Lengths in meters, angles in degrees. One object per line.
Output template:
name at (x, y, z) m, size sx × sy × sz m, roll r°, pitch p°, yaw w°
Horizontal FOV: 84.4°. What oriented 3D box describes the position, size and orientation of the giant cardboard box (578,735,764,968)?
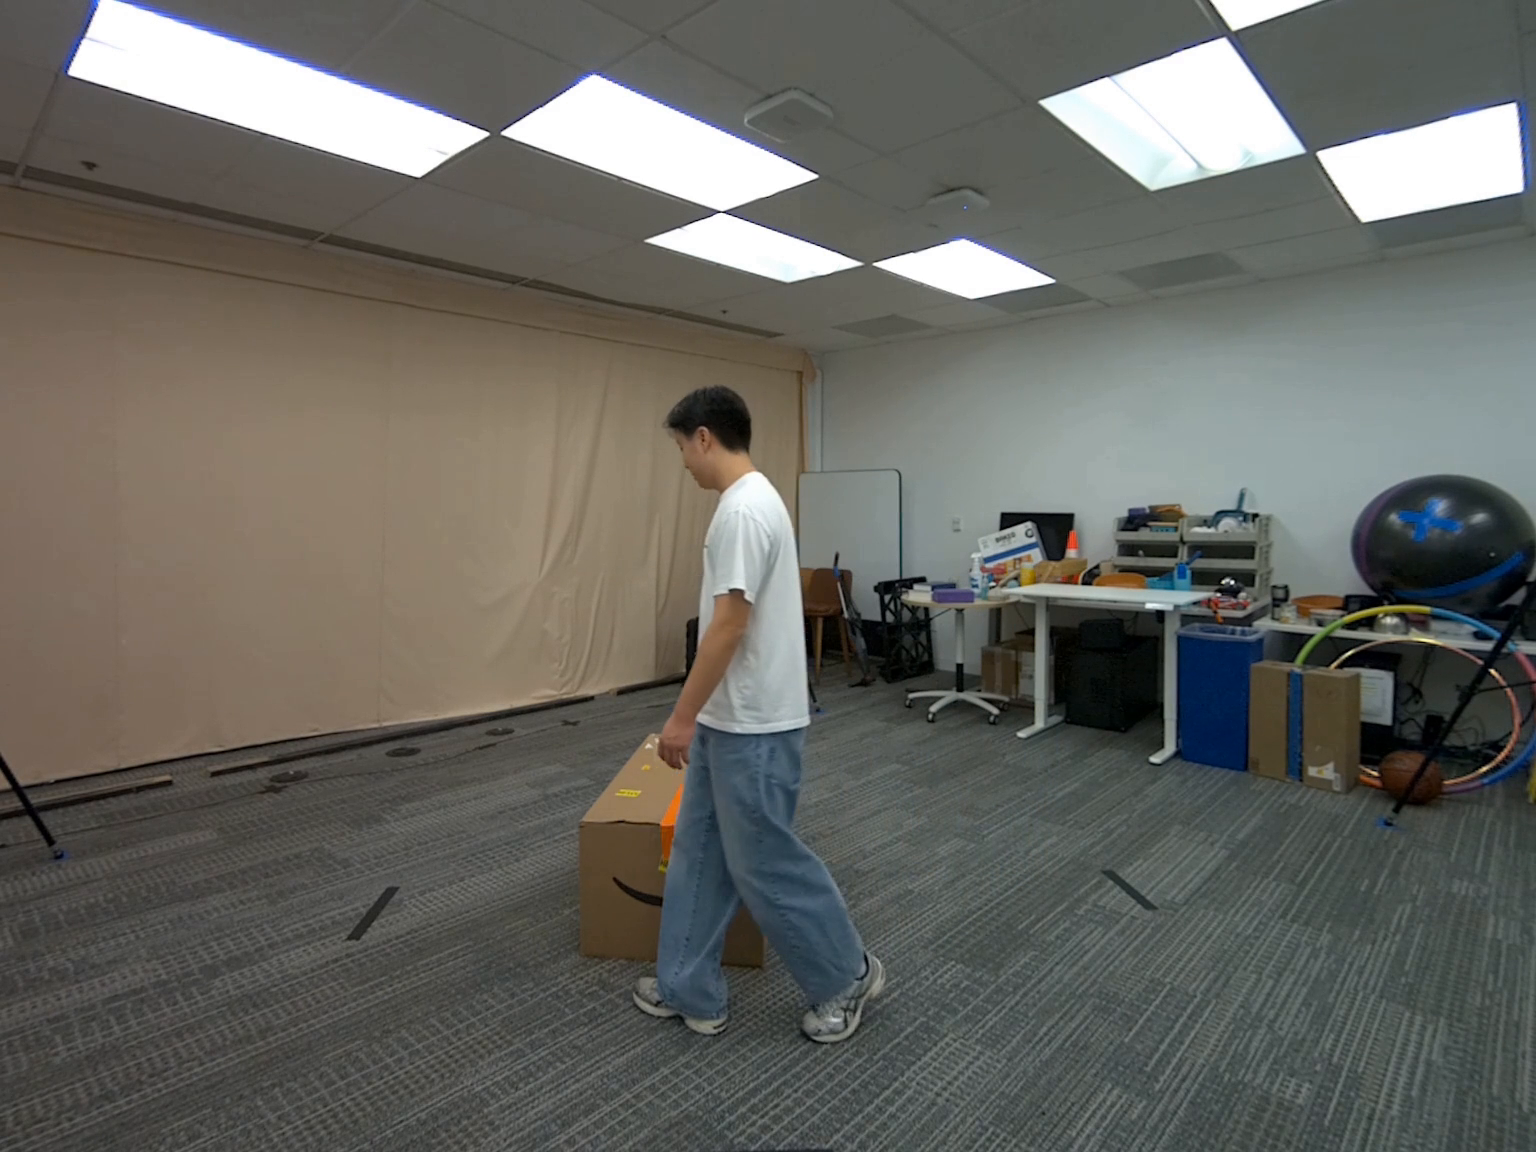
giant cardboard box at (-0.257, 0.920, 3.062) m, size 0.582 × 0.425 × 1.021 m, roll 0°, pitch 5°, yaw 5°
